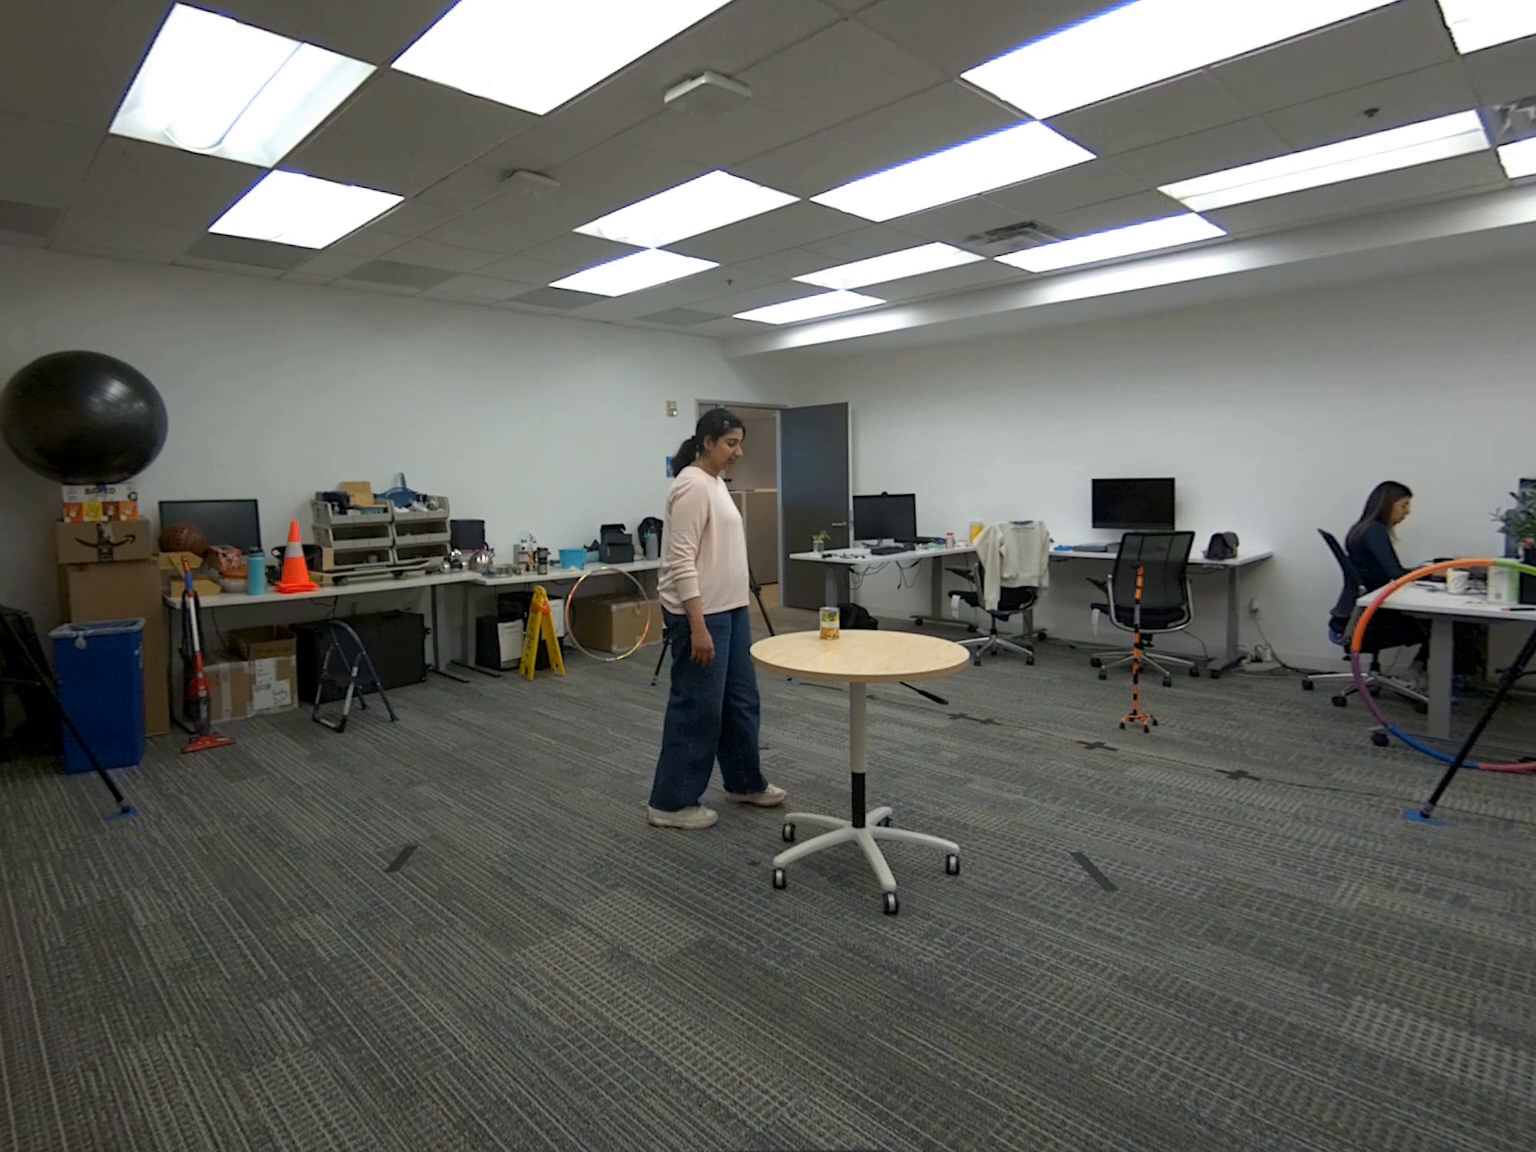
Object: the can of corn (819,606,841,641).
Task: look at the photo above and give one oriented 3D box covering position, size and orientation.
[{"bbox_3d":[0.233,0.179,3.250,0.074,0.111,0.074,-2,2,-2],"label":"can of corn"}]
